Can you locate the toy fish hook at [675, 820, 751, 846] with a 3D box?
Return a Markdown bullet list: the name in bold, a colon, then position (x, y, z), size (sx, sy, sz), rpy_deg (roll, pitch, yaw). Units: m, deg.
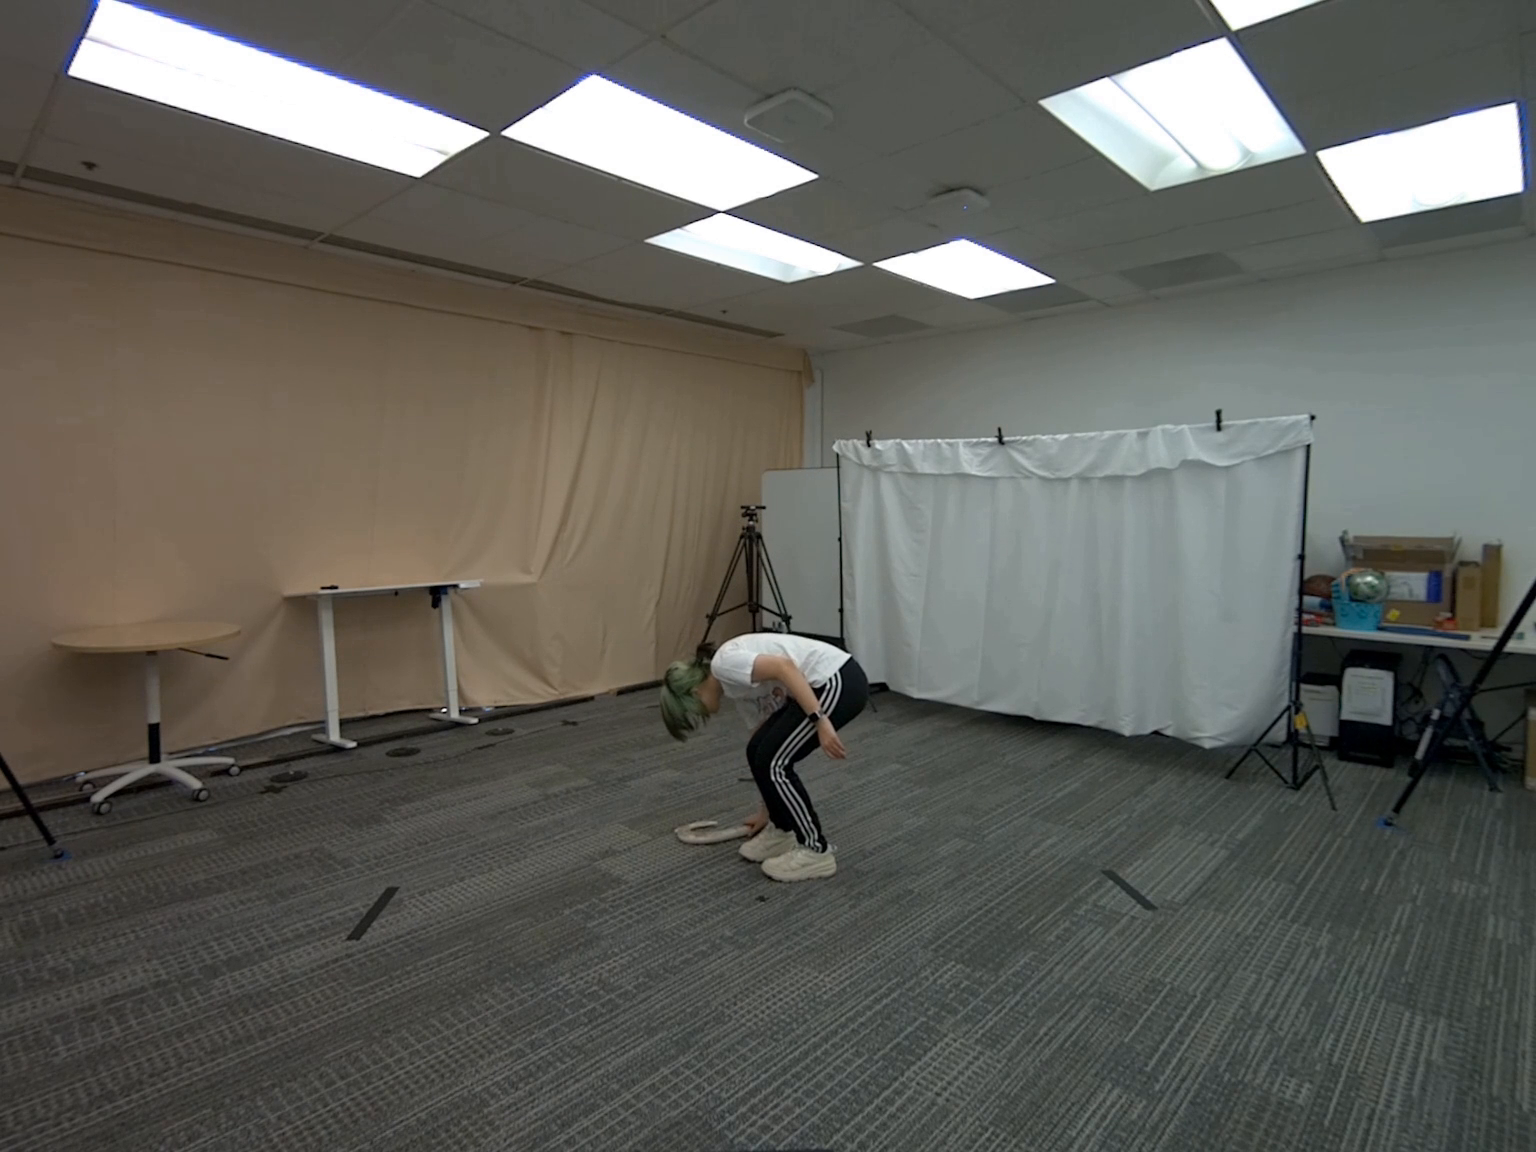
- **toy fish hook**: position (-0.140, 1.071, 3.594), size (0.499, 0.048, 0.229), rpy_deg (-2, 6, -15)
